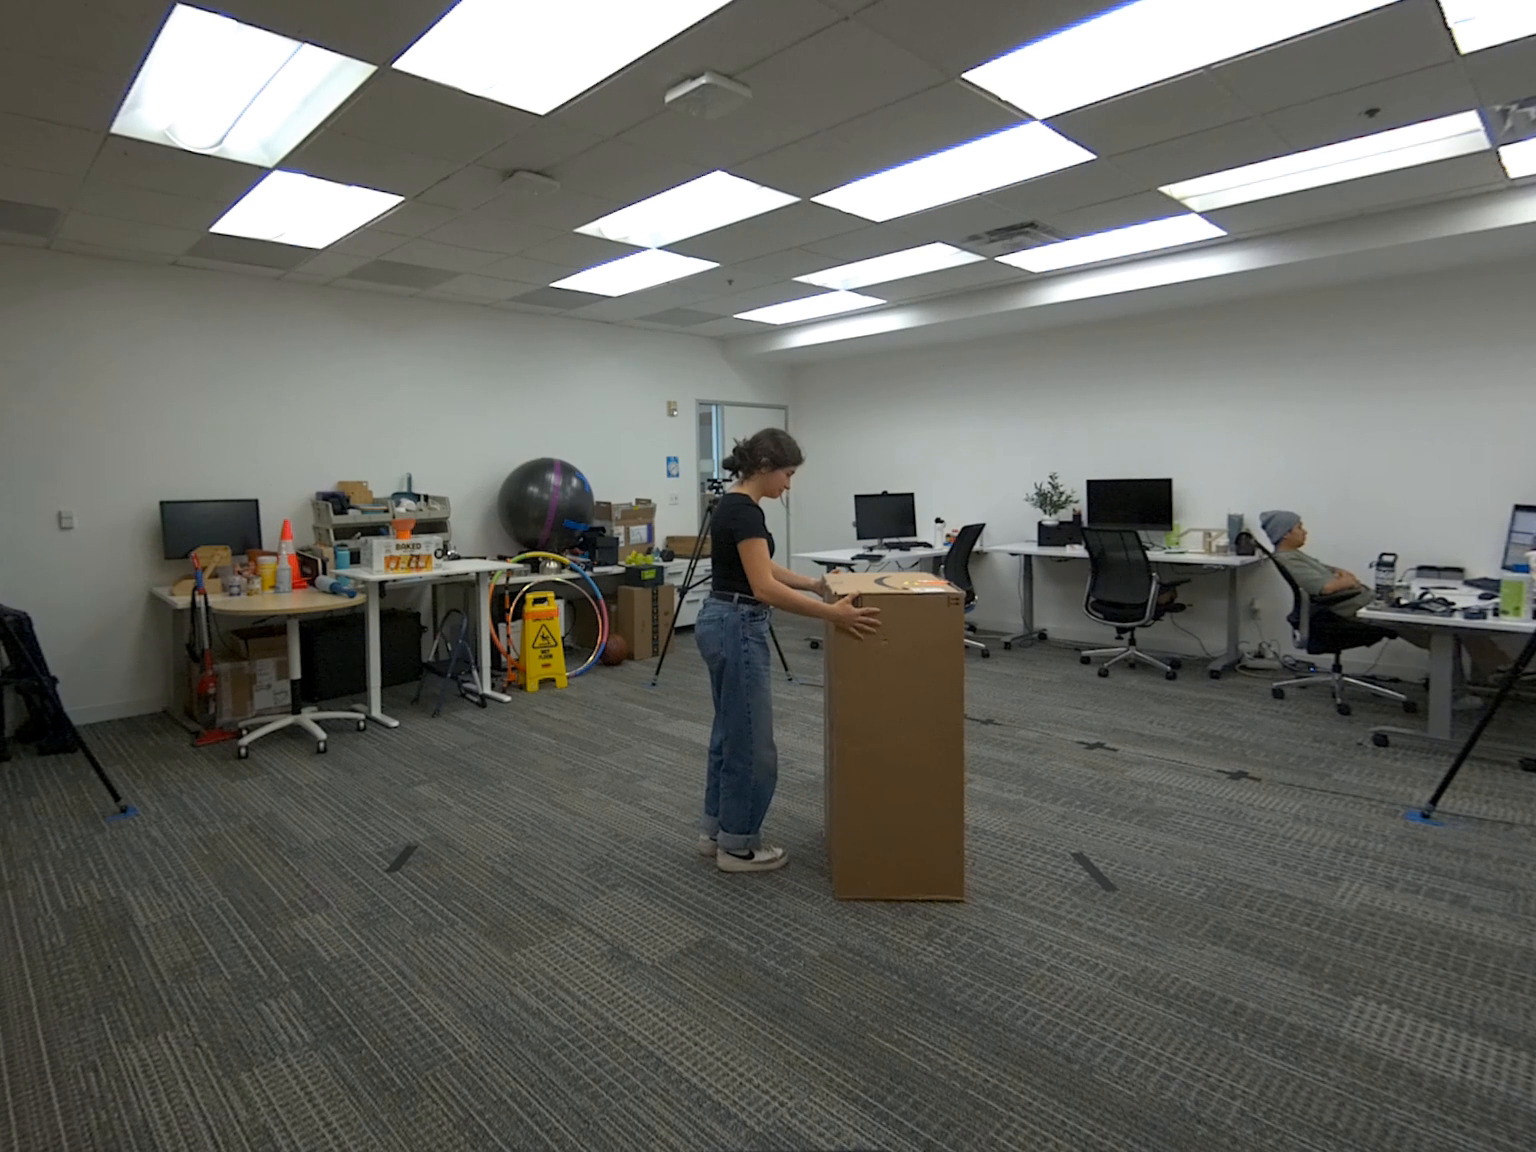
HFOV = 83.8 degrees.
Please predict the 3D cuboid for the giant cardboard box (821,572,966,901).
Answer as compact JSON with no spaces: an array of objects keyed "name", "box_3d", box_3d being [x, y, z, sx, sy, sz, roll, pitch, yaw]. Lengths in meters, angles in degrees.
[{"name":"giant cardboard box","box_3d":[0.434,0.537,3.064,0.427,1.022,0.579,-1,4,0]}]
